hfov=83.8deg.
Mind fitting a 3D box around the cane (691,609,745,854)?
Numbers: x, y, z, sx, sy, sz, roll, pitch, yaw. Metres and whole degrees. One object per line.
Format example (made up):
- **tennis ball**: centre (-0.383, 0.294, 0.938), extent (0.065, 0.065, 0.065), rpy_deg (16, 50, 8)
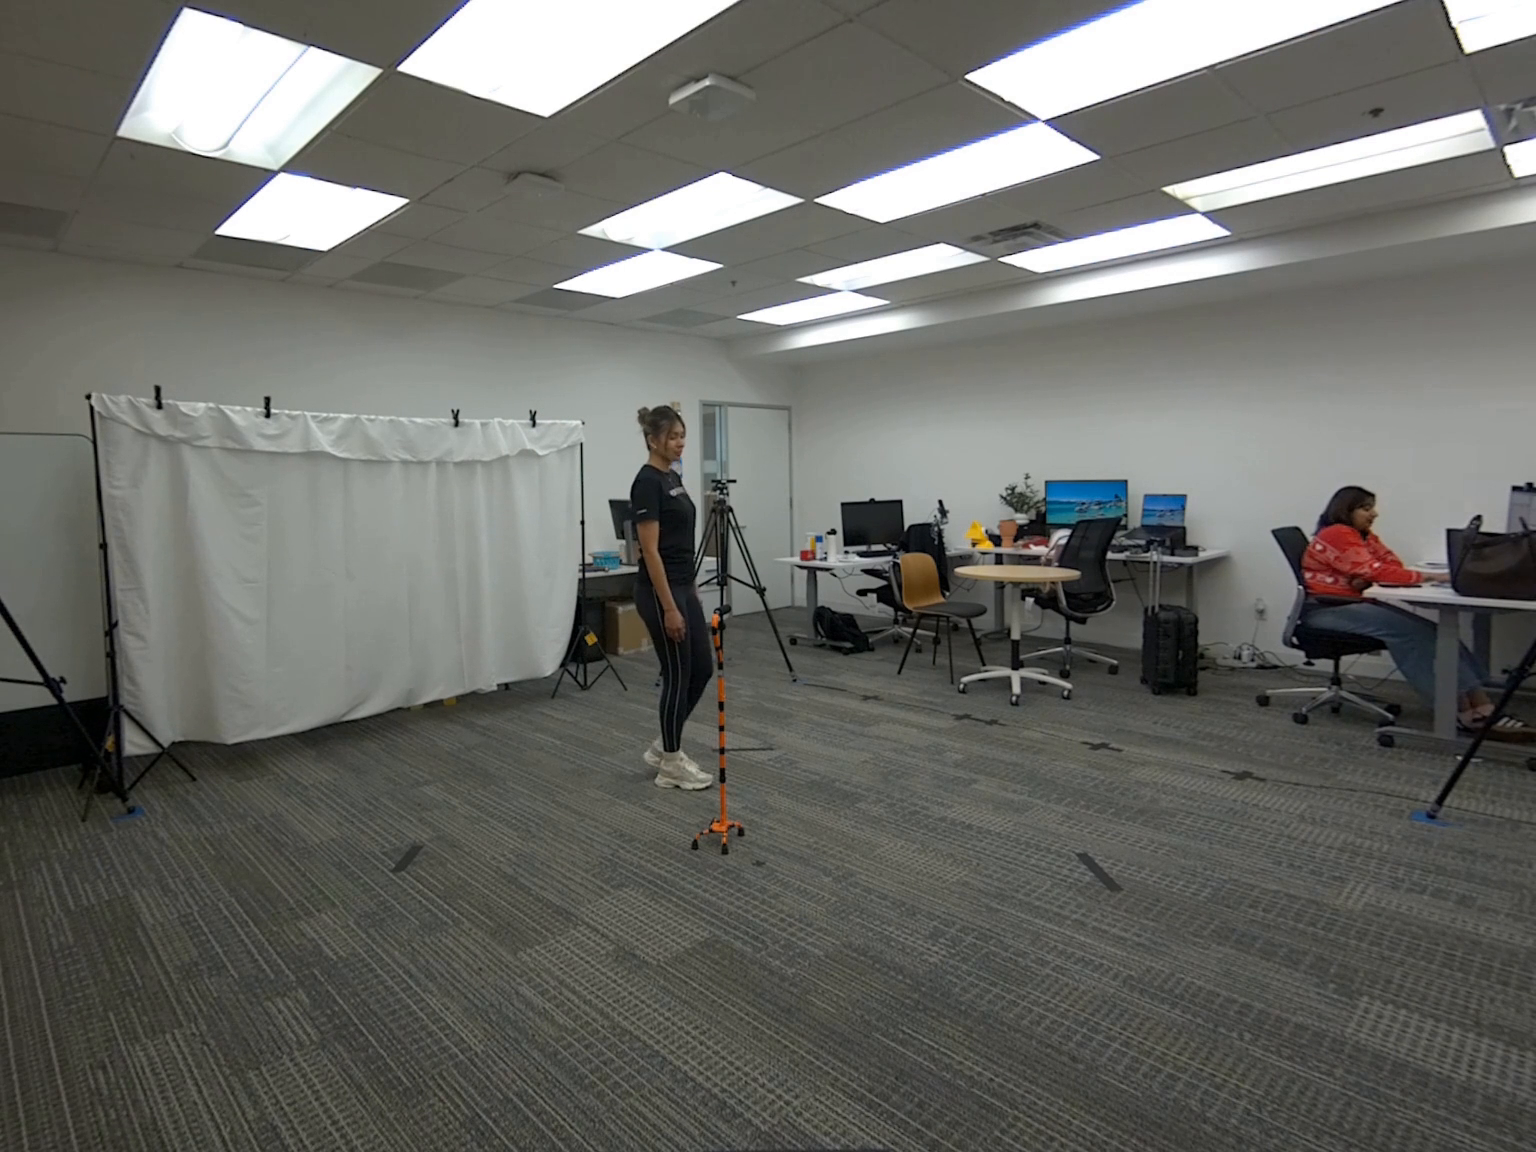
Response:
- **cane**: centre (-0.193, 0.578, 3.273), extent (0.154, 0.904, 0.204), rpy_deg (0, 4, 16)
